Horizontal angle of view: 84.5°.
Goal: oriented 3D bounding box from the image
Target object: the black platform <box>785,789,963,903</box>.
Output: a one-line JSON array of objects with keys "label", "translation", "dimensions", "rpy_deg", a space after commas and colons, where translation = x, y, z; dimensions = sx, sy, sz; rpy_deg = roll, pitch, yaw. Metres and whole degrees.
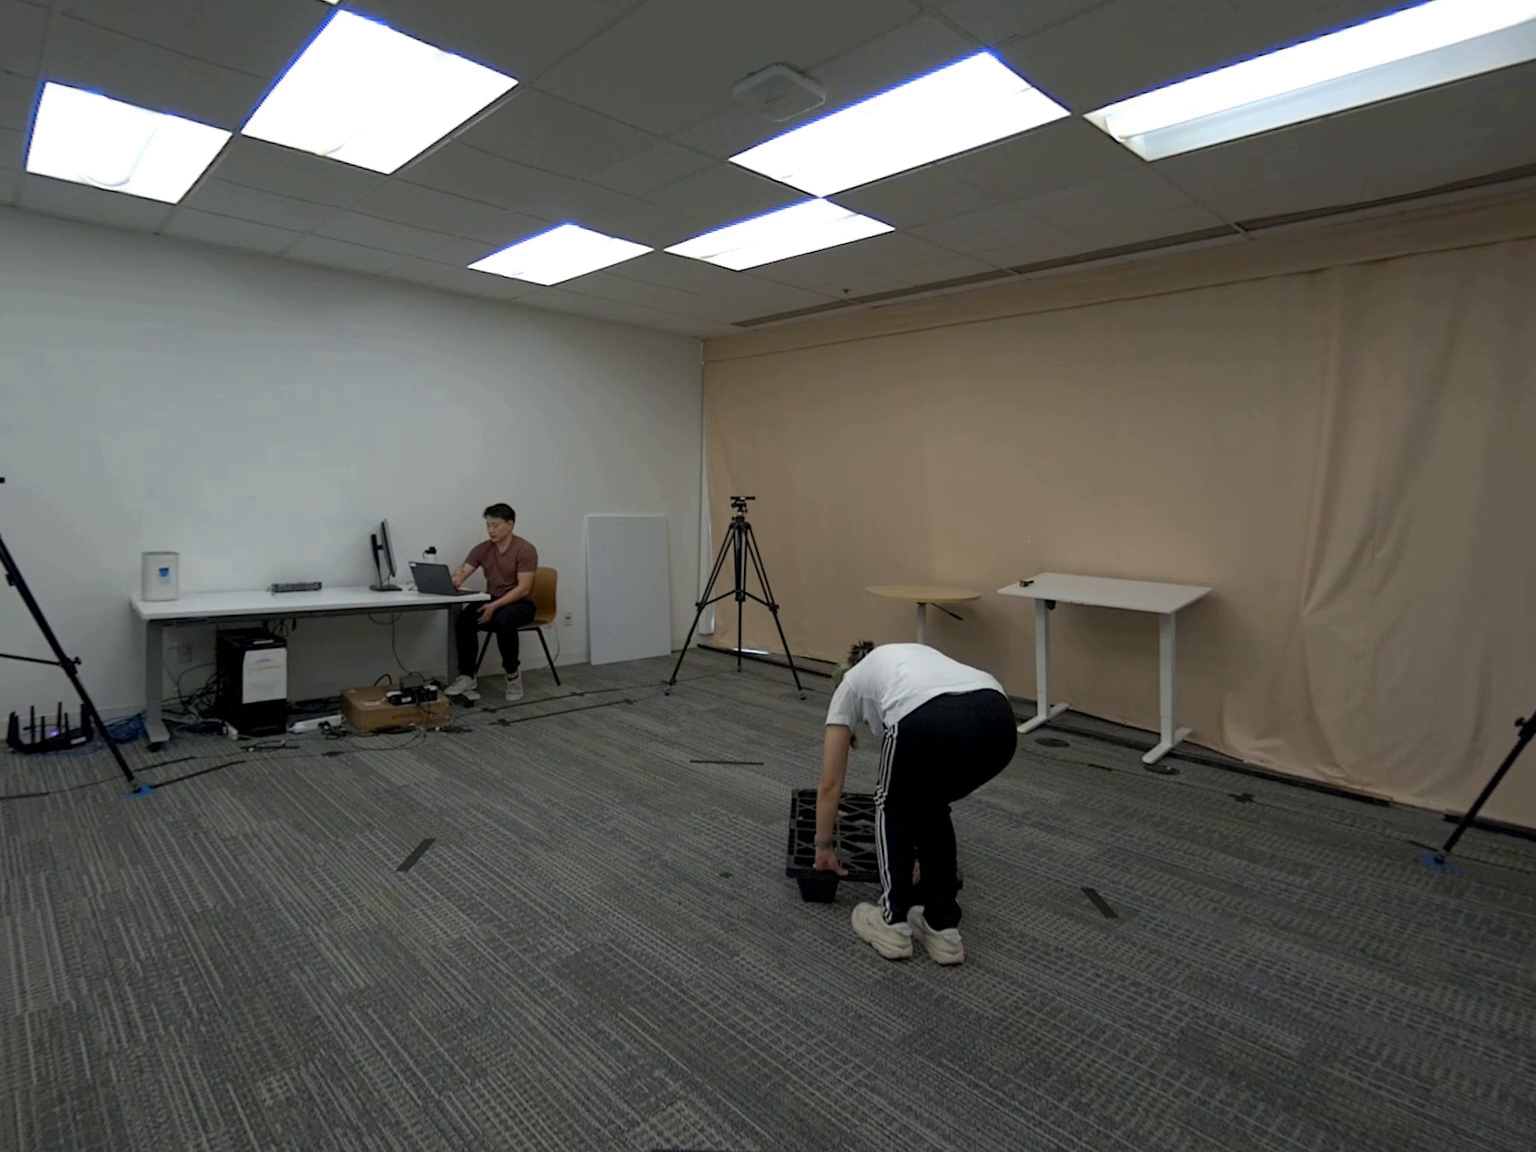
[{"label": "black platform", "translation": [0.375, 1.036, 3.246], "dimensions": [0.608, 0.143, 0.805], "rpy_deg": [2, 5, 4]}]
